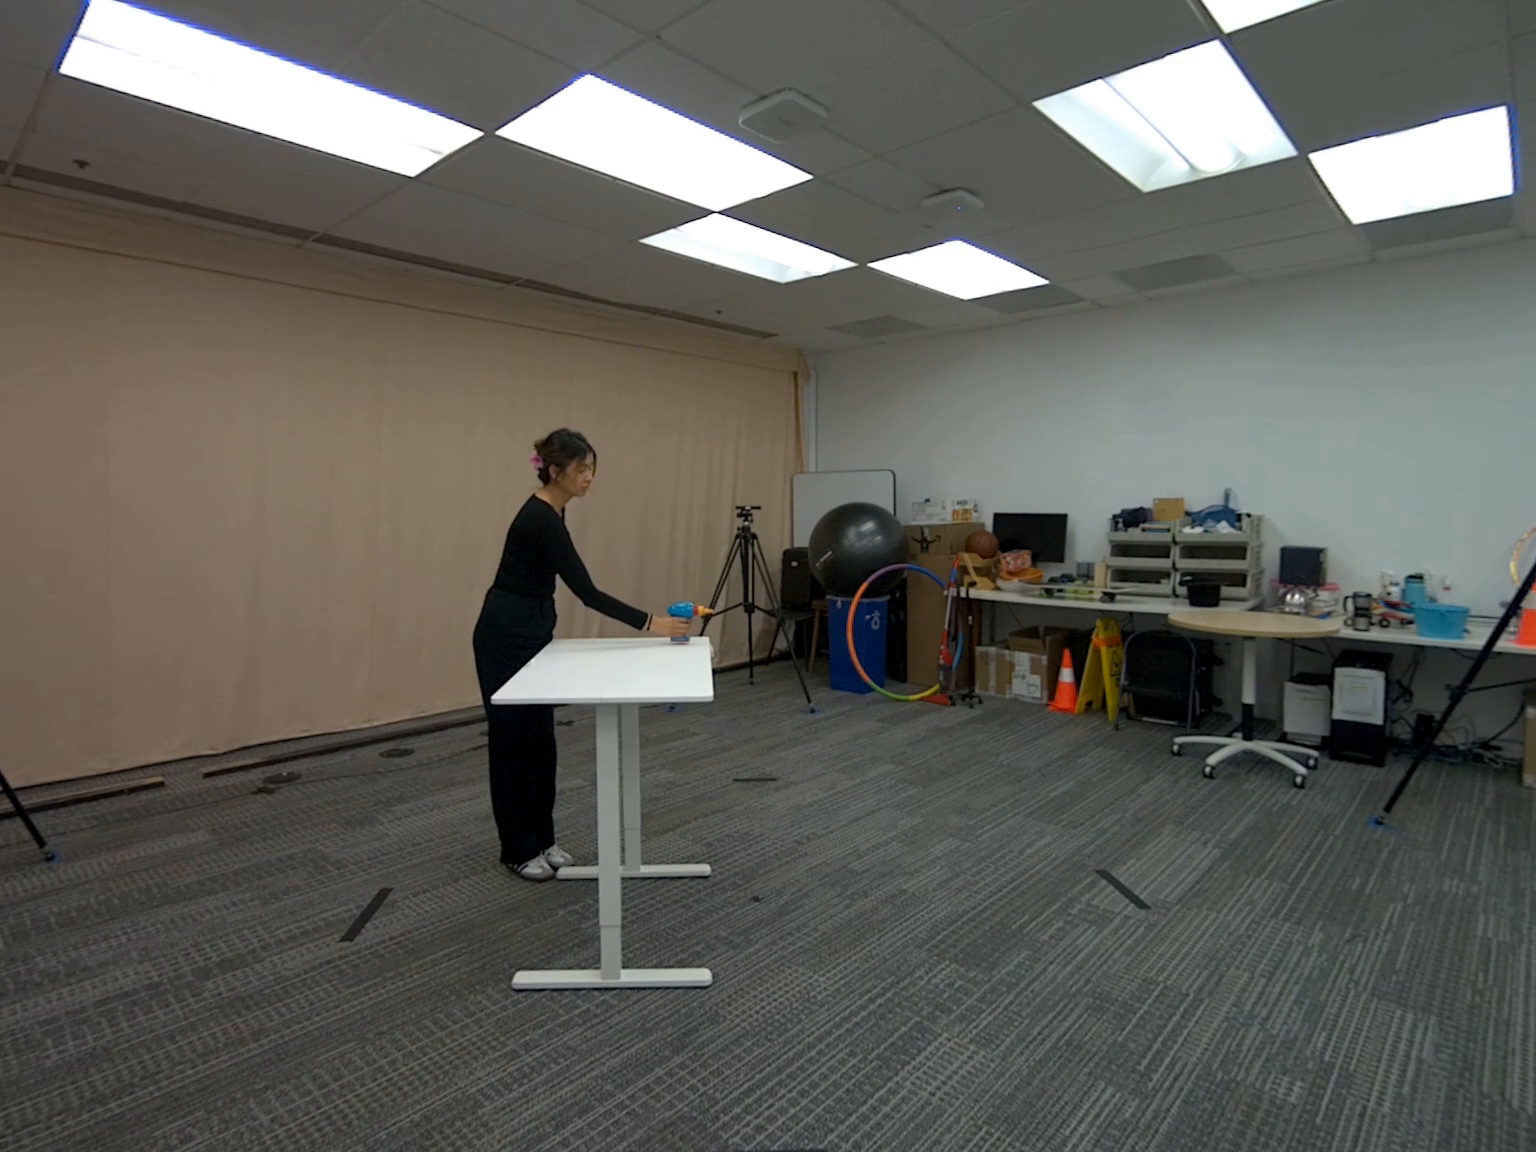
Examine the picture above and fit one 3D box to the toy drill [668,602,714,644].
[{"bbox_3d":[-0.288,0.169,3.097,0.170,0.145,0.061,1,6,1],"label":"toy drill"}]
